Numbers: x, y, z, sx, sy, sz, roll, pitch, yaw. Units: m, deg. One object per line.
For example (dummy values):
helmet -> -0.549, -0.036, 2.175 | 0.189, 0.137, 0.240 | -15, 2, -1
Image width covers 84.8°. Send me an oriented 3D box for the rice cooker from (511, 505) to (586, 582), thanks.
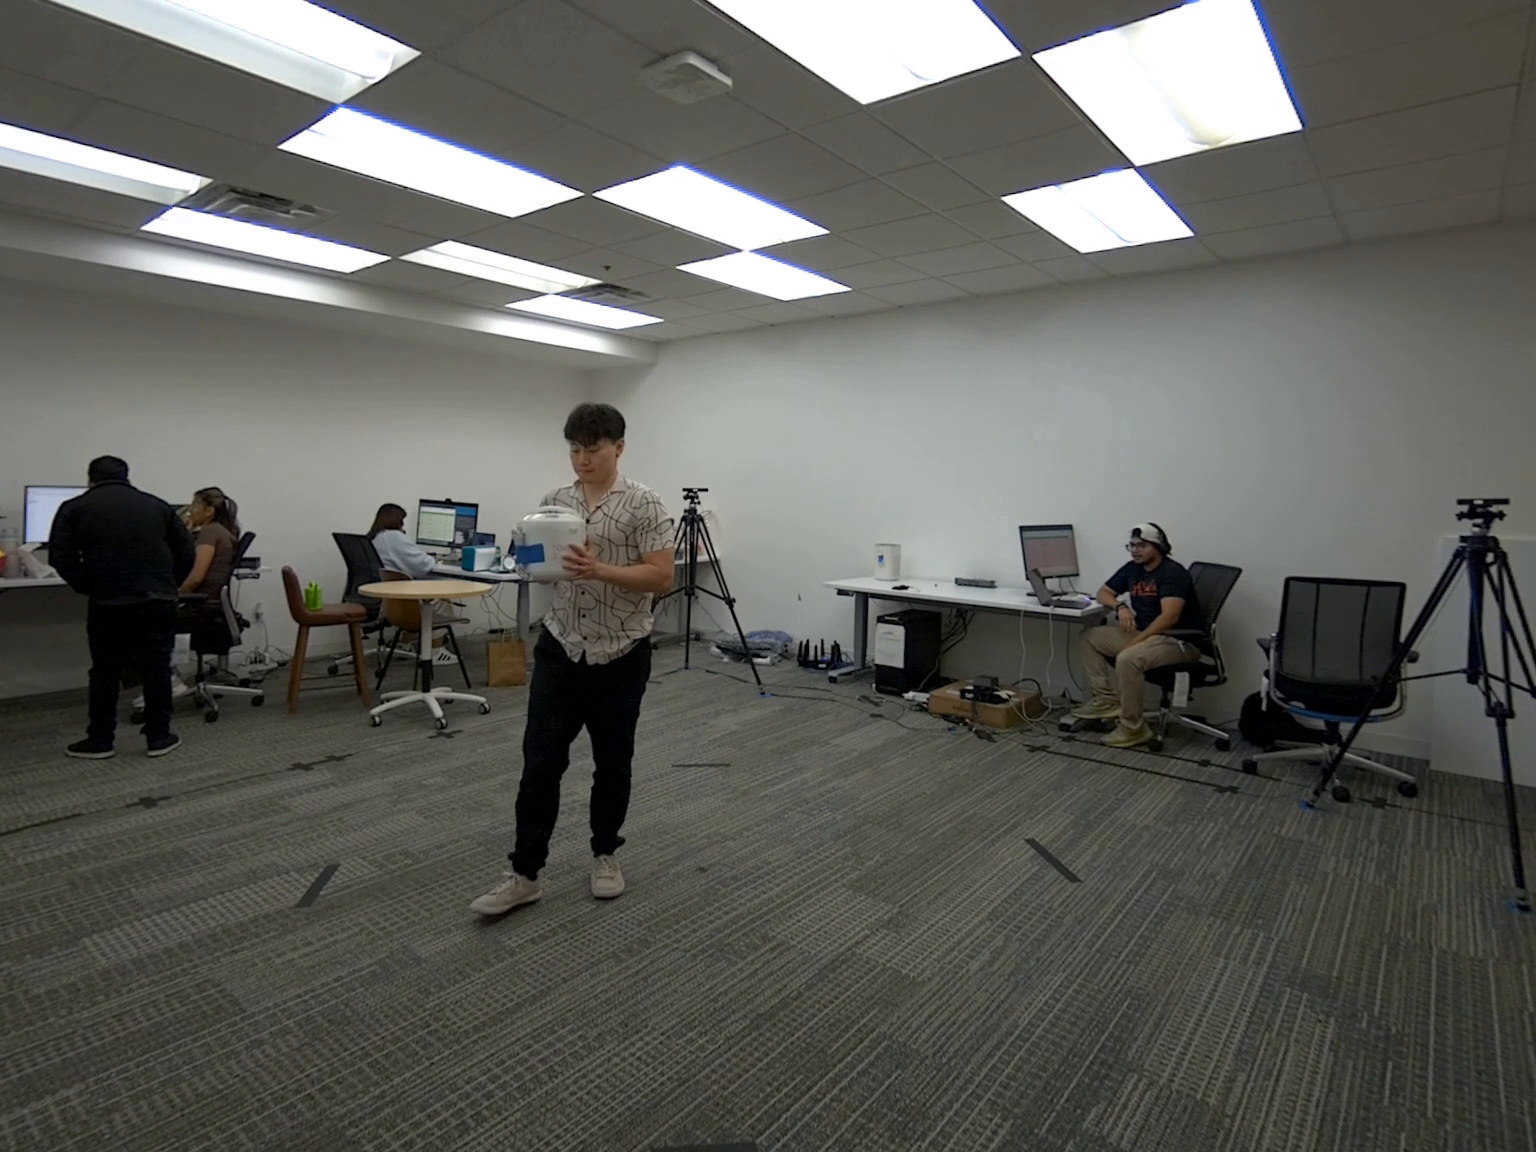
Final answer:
rice cooker -> -0.692, -0.111, 2.713 | 0.220, 0.232, 0.218 | 1, 3, -1
